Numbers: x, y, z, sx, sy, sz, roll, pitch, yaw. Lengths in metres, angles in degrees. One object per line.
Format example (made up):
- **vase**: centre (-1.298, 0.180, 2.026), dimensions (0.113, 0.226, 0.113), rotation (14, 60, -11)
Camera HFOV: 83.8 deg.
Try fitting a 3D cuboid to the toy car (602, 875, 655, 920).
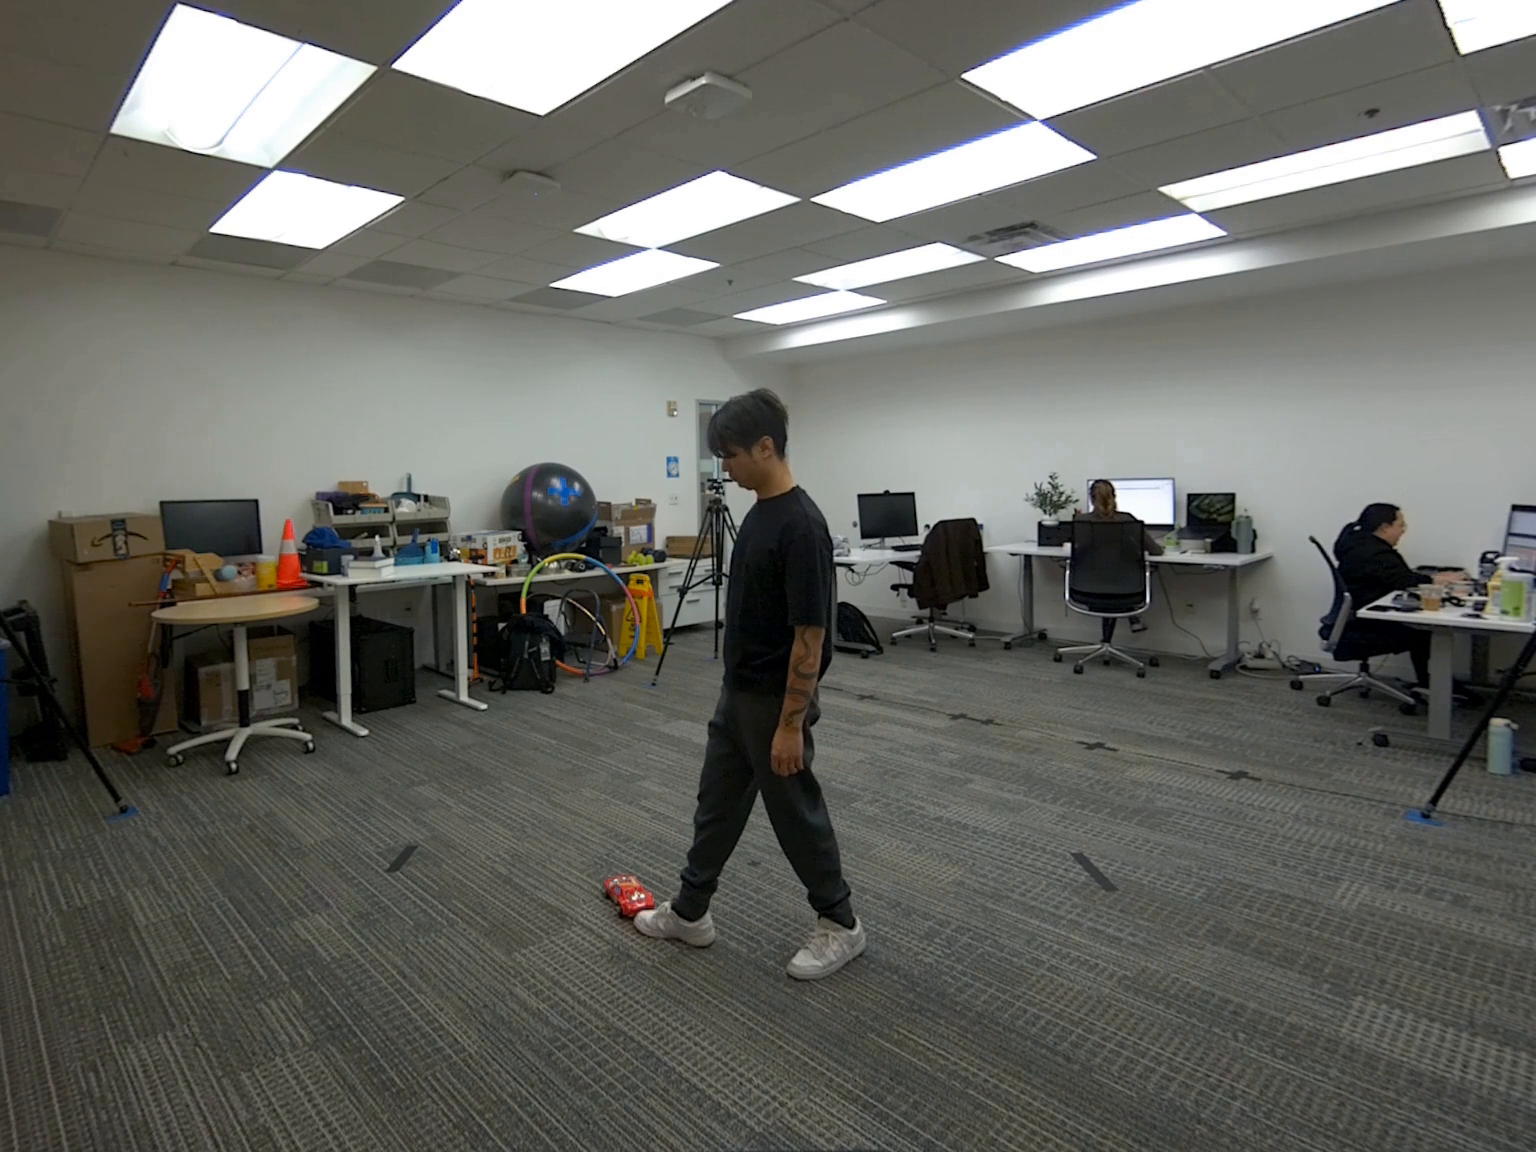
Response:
- **toy car**: centre (-0.452, 1.057, 2.805), dimensions (0.127, 0.083, 0.259), rotation (-4, -4, -28)
